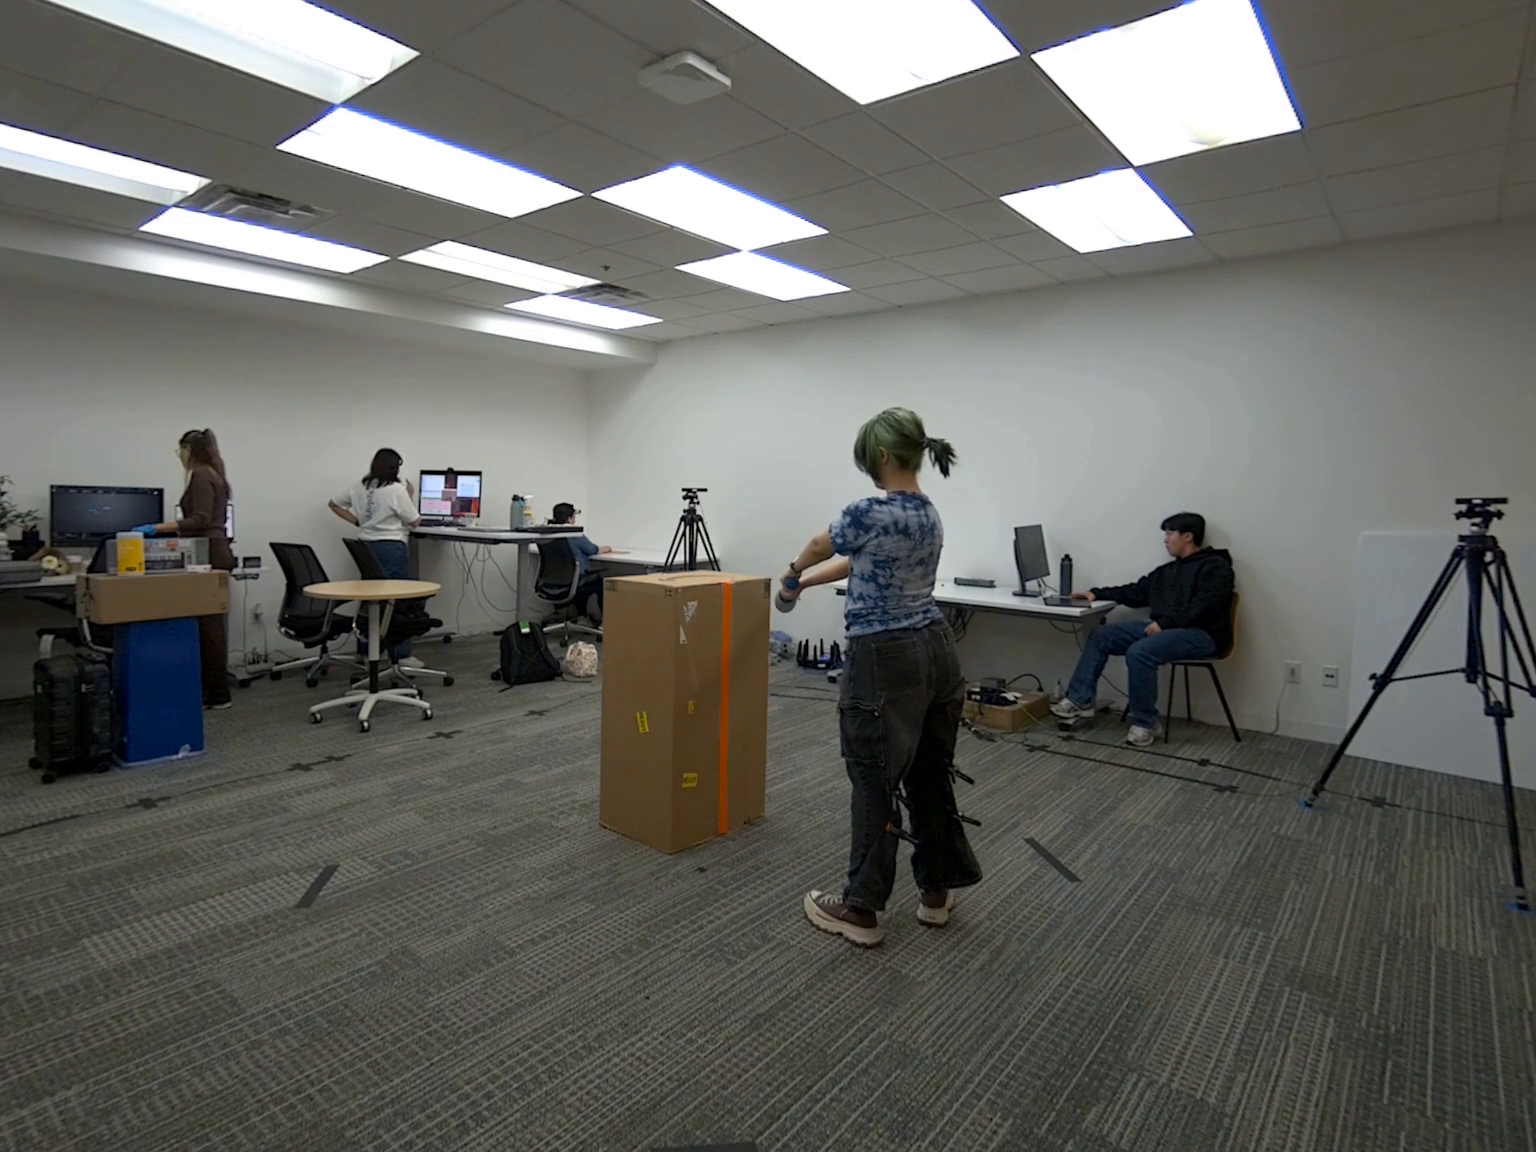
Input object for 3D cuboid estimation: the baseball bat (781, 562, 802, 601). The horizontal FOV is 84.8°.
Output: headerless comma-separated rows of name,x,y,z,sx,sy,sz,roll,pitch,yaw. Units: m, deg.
baseball bat,0.084,0.066,3.320,0.089,0.090,0.536,1,-12,-2
